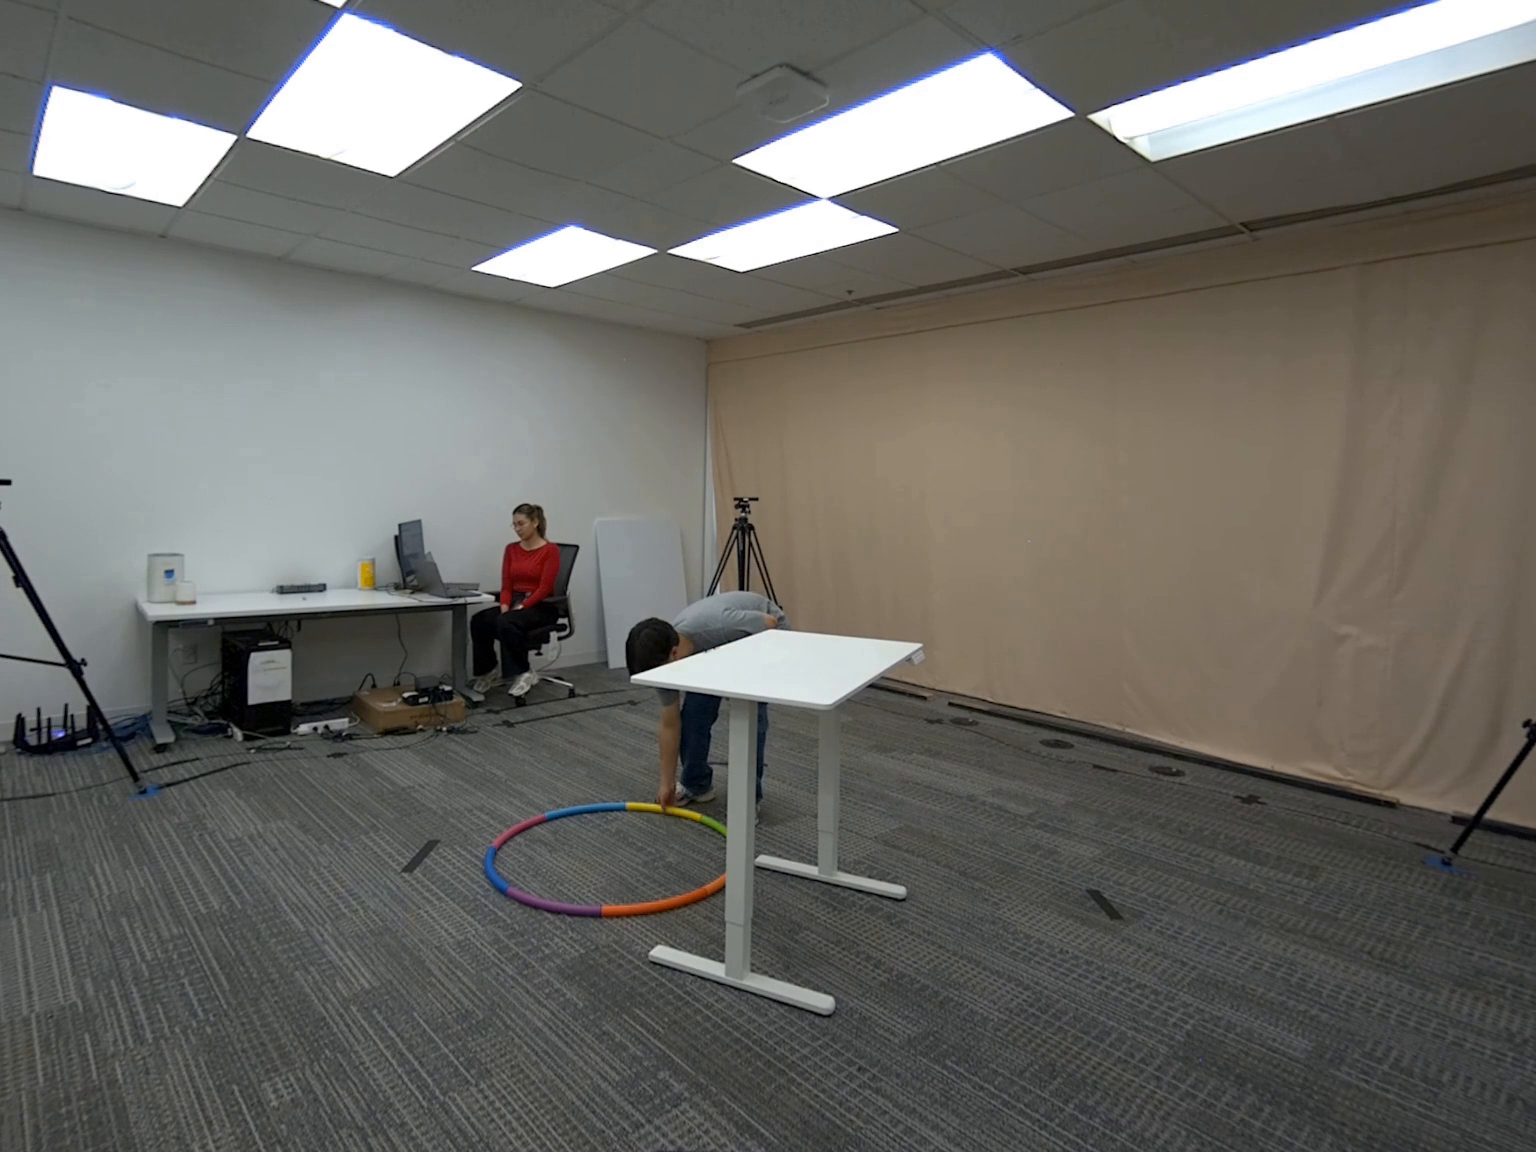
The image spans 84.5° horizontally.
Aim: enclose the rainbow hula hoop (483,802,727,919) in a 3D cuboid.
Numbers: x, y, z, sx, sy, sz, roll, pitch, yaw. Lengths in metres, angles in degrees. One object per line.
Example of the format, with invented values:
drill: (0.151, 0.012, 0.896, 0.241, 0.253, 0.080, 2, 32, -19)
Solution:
rainbow hula hoop: (-0.591, 1.046, 3.263, 0.978, 0.035, 0.983, 1, 6, -1)
